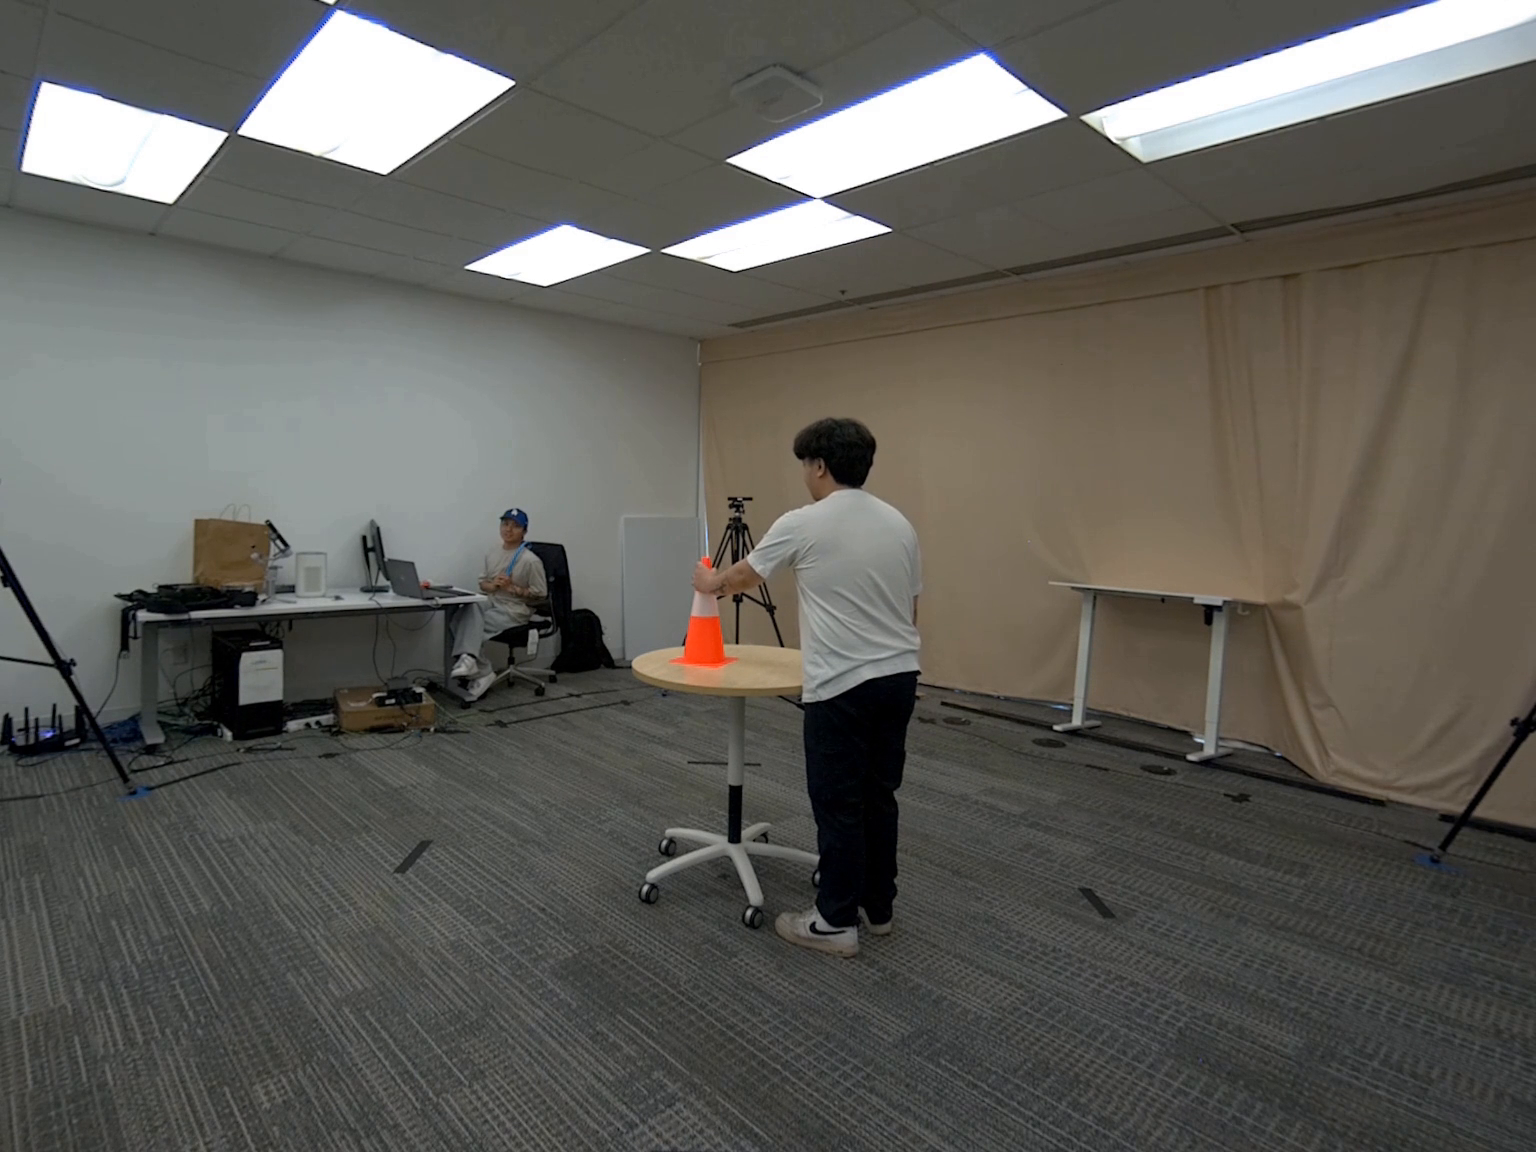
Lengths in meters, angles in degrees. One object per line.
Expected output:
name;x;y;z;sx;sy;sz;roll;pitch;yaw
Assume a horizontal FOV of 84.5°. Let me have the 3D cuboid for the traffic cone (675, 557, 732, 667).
traffic cone;-0.234;0.126;3.073;0.207;0.383;0.201;4;3;25
